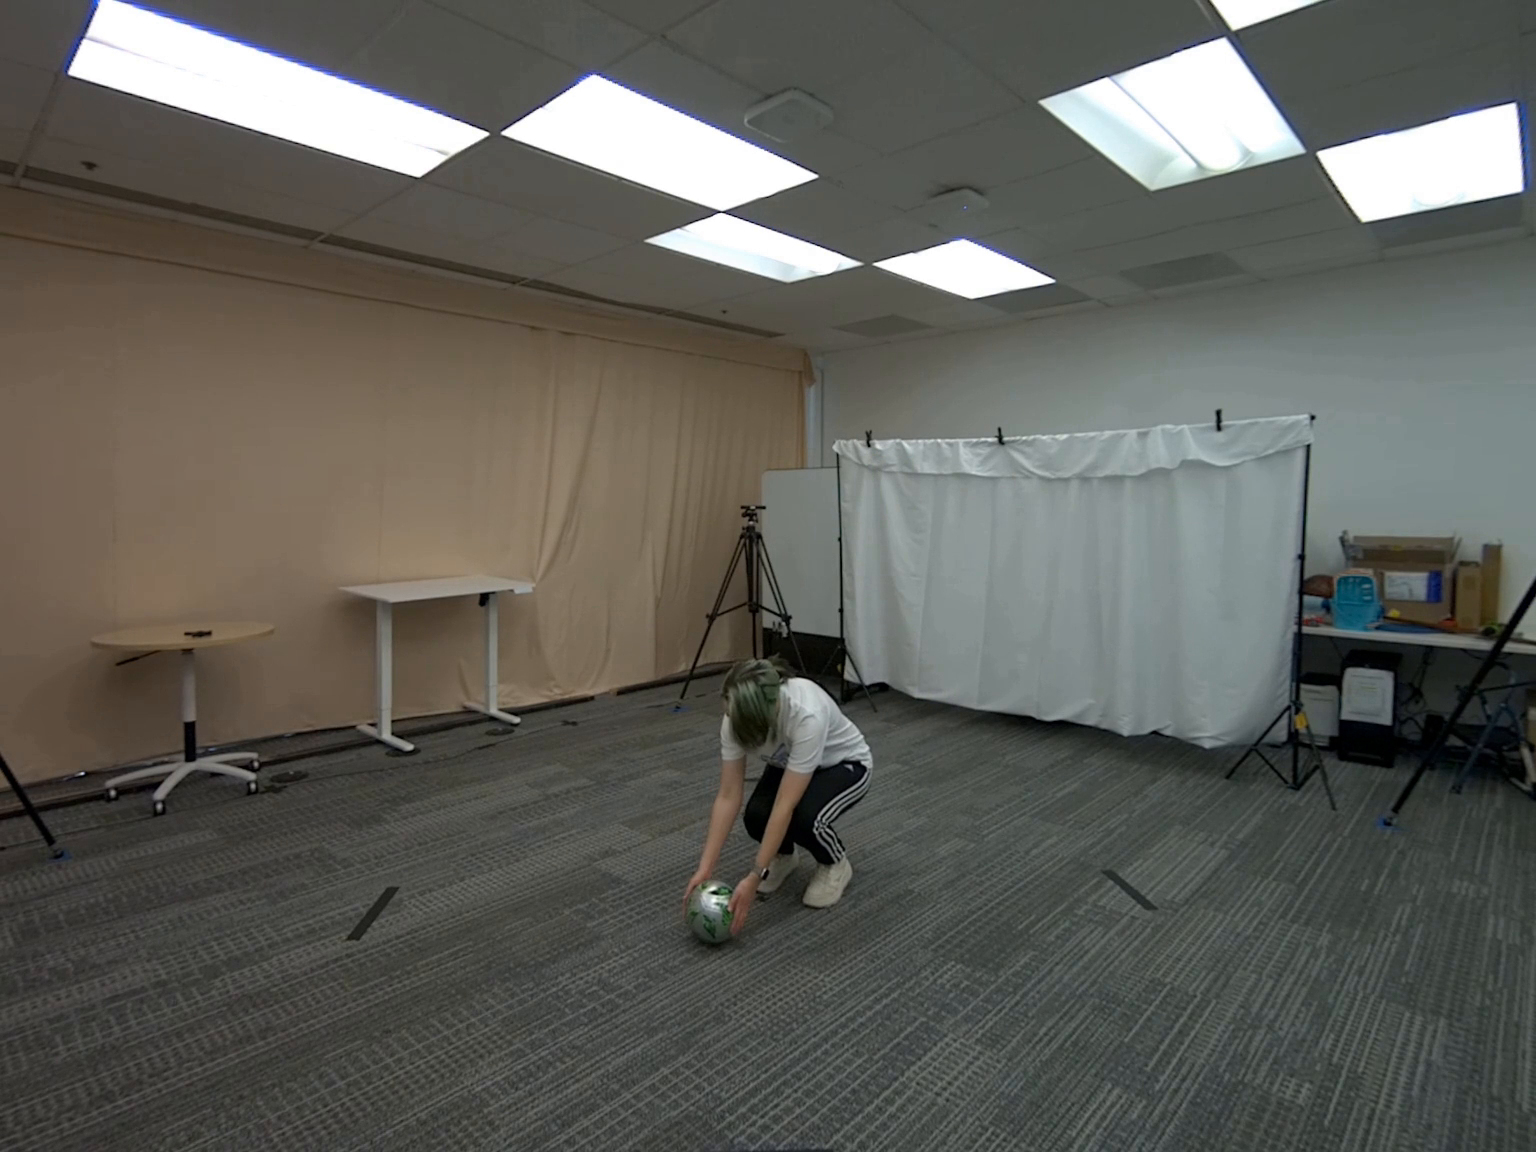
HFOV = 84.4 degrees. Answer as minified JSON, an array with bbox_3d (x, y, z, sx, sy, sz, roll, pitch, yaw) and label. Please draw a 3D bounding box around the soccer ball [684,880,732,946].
[{"bbox_3d":[-0.170,1.058,2.688,0.187,0.187,0.188,0,4,-2],"label":"soccer ball"}]
